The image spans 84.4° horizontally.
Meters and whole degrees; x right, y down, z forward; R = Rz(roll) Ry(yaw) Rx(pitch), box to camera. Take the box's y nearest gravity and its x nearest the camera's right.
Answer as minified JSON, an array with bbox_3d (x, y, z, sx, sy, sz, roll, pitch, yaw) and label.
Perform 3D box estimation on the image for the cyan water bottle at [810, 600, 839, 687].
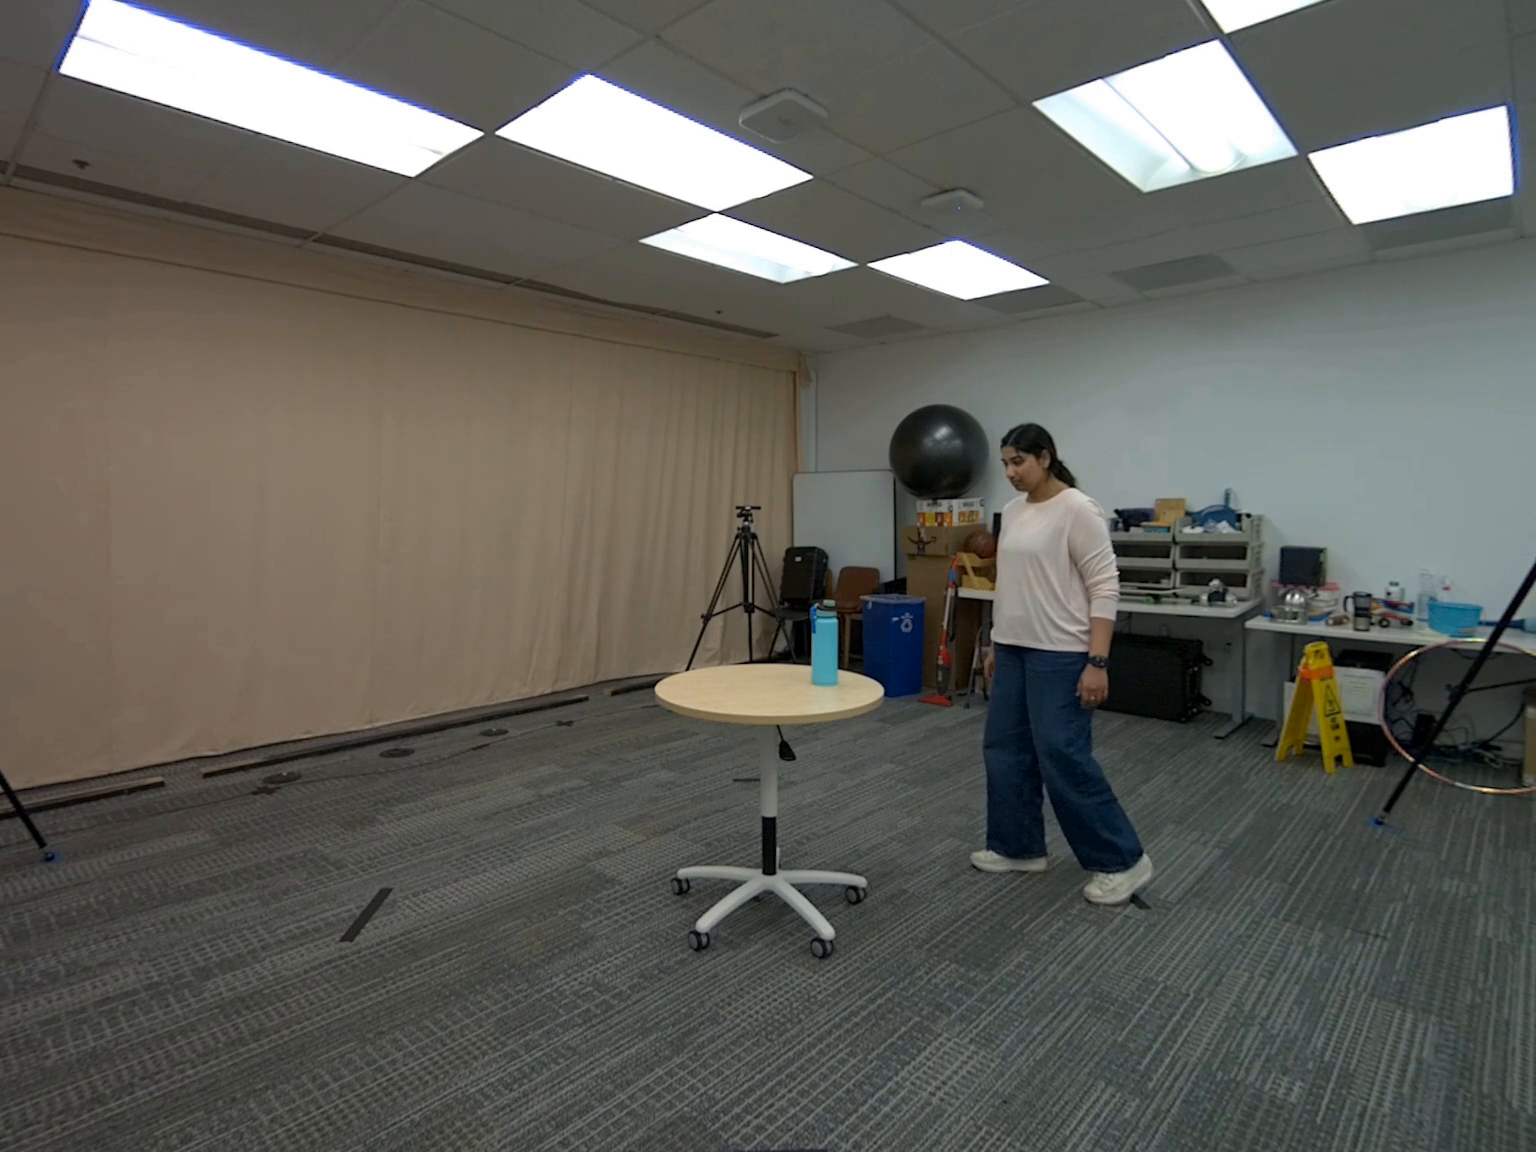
[{"bbox_3d":[0.203,0.231,2.877,0.092,0.283,0.092,0,3,-2],"label":"cyan water bottle"}]
